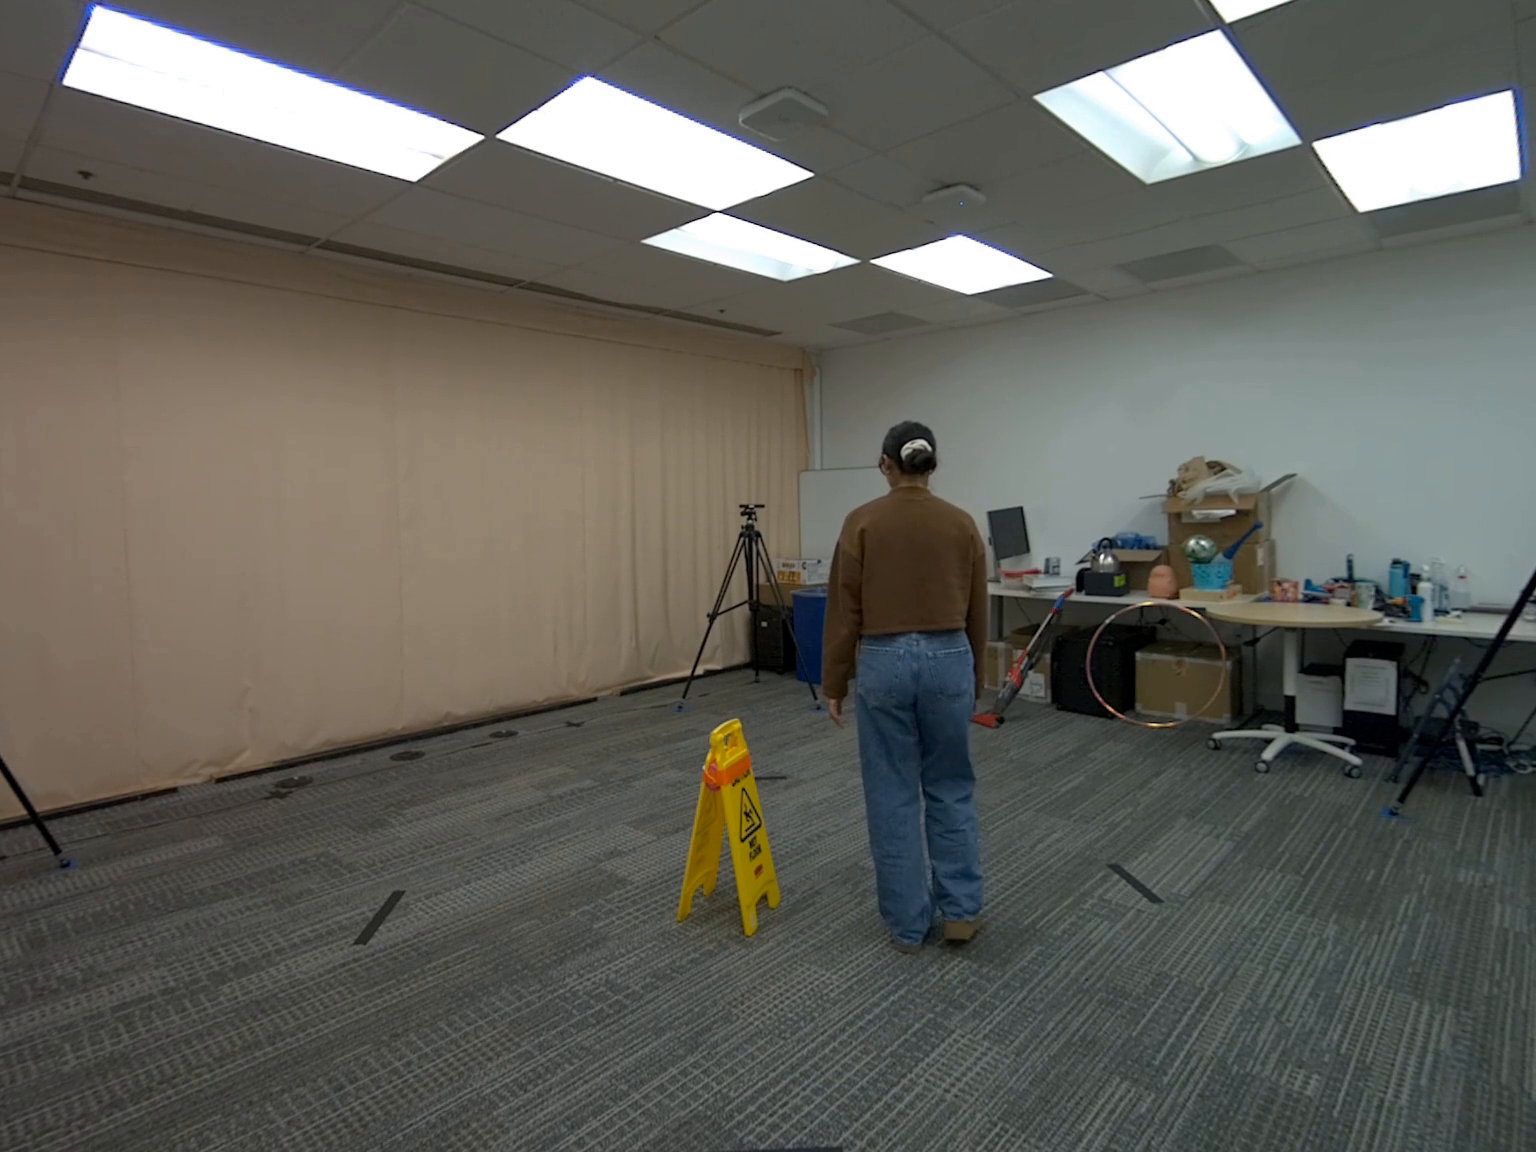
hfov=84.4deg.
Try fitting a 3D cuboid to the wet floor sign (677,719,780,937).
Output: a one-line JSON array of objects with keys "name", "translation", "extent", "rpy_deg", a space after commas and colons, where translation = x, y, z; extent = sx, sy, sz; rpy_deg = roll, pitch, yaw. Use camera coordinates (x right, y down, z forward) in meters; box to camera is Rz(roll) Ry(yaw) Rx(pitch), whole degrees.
[{"name": "wet floor sign", "translation": [-0.132, 0.828, 2.868], "extent": [0.297, 0.644, 0.276], "rpy_deg": [1, 4, 23]}]
